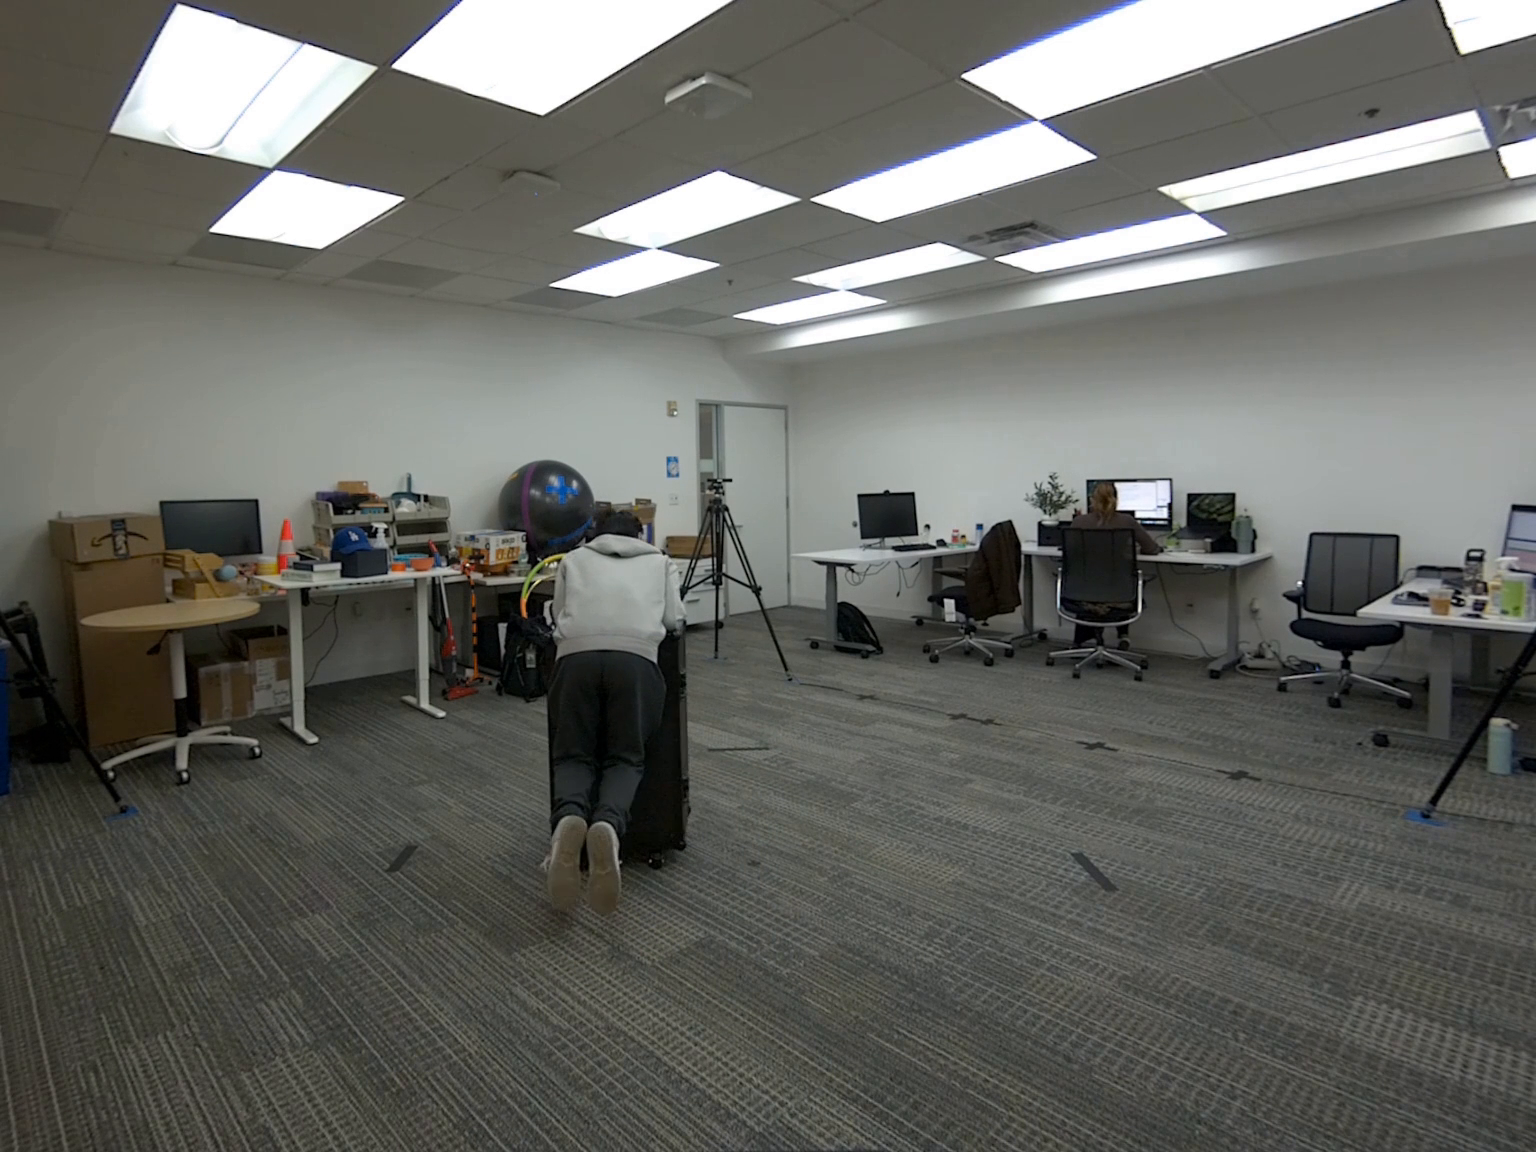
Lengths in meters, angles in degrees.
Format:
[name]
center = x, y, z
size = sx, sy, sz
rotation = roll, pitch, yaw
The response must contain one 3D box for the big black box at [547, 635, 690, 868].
[big black box]
center = -0.562, 0.619, 3.236
size = 0.521, 0.859, 0.397
rotation = -2, 3, 0
